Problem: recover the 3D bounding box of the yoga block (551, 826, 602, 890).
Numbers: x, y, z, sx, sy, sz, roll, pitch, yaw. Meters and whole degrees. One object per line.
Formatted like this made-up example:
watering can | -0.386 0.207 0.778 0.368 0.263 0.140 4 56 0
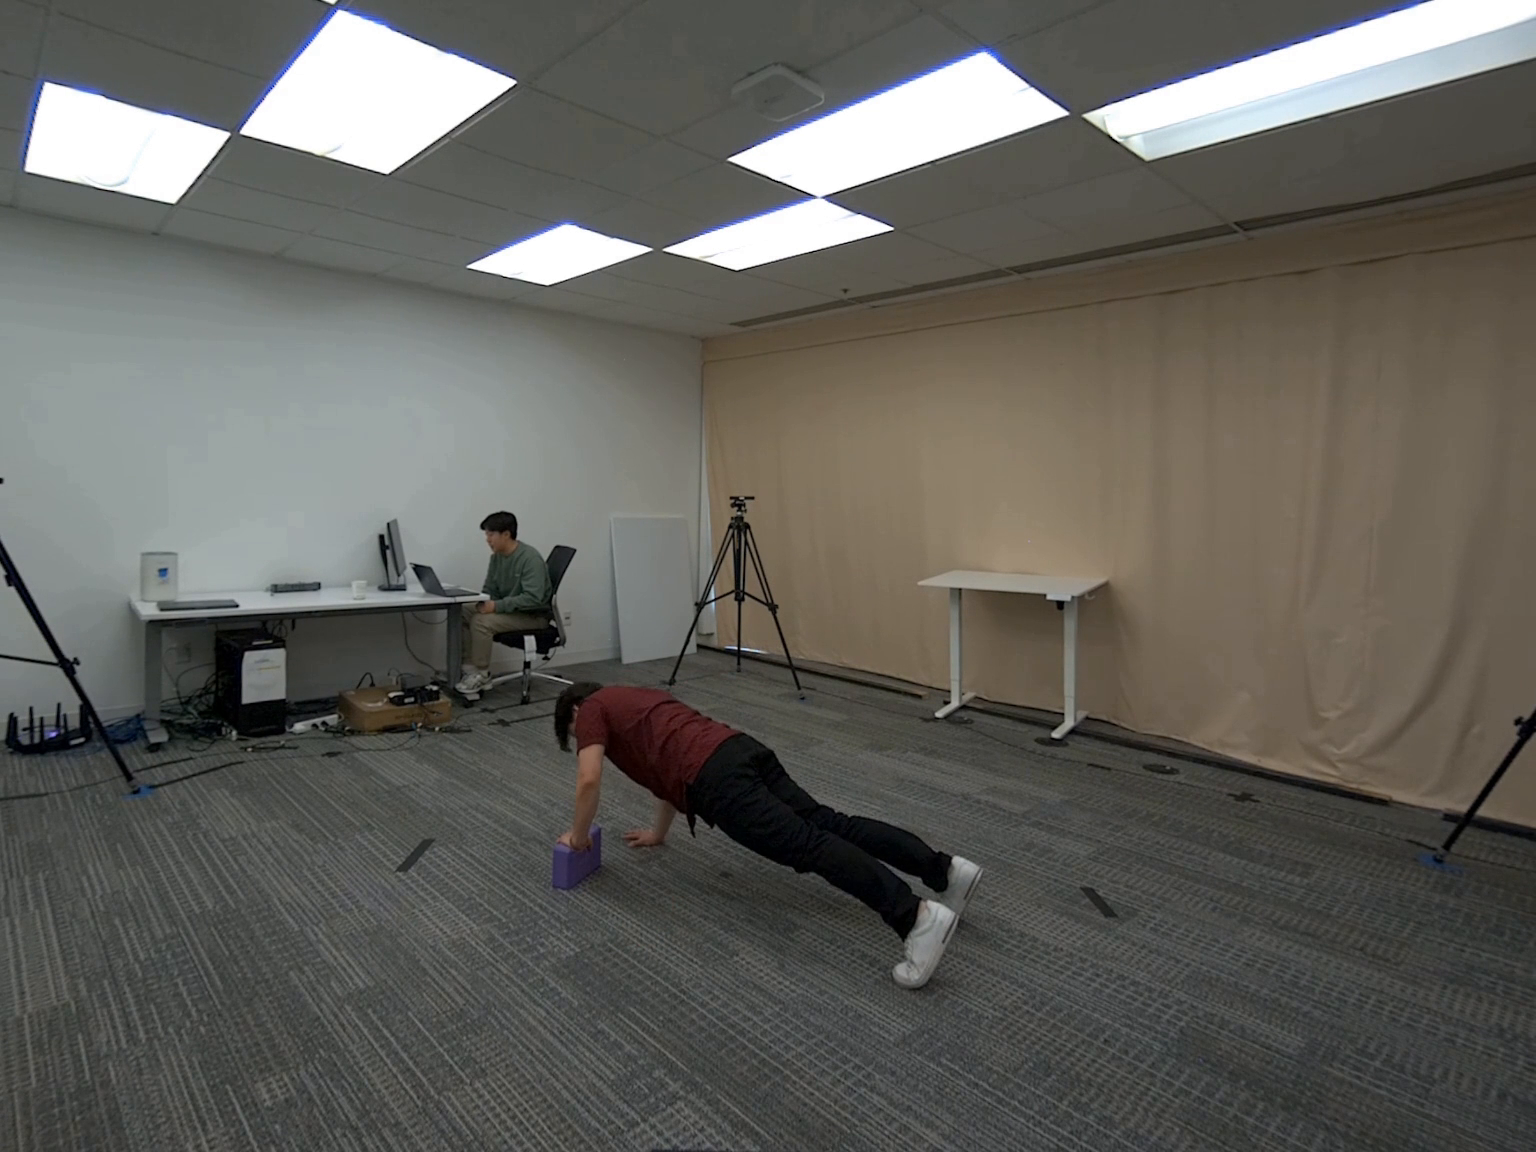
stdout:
yoga block | -0.690 1.012 3.064 0.077 0.148 0.226 3 4 17
